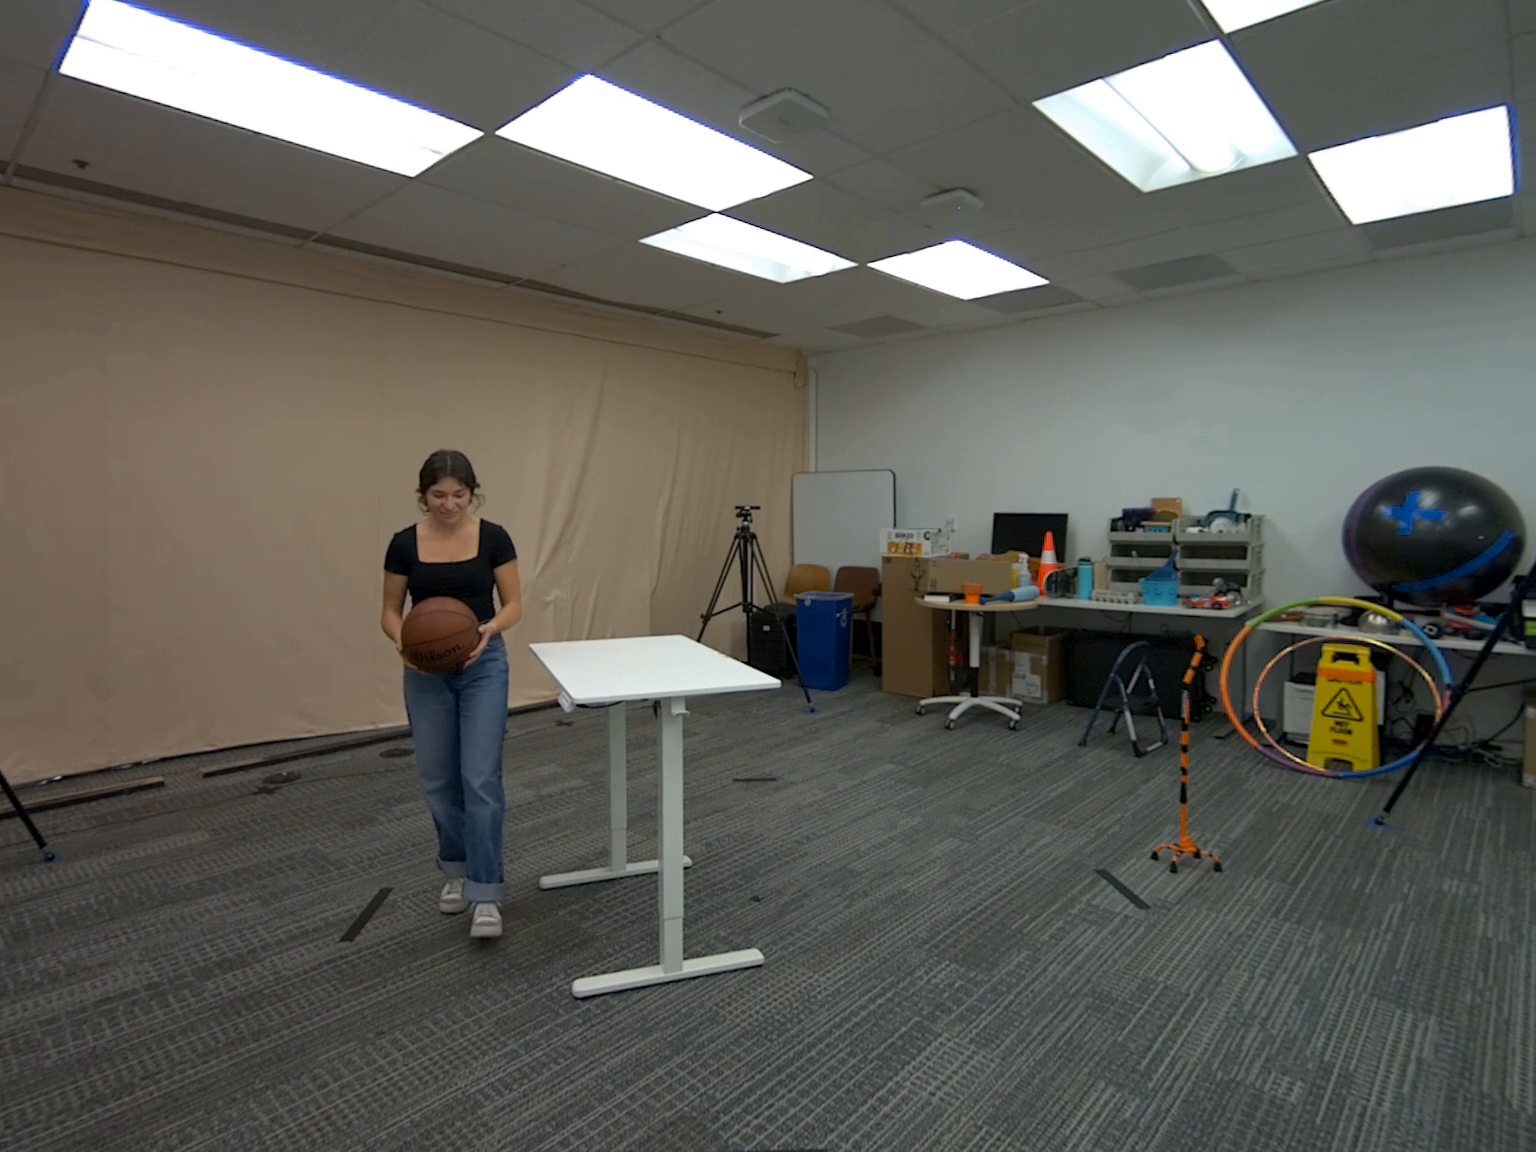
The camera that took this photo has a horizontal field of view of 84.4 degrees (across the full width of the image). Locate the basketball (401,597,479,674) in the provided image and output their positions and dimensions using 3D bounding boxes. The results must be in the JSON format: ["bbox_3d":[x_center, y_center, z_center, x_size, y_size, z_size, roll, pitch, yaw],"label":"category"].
[{"bbox_3d":[-1.031,0.182,2.658,0.236,0.235,0.237,0,4,-2],"label":"basketball"}]
